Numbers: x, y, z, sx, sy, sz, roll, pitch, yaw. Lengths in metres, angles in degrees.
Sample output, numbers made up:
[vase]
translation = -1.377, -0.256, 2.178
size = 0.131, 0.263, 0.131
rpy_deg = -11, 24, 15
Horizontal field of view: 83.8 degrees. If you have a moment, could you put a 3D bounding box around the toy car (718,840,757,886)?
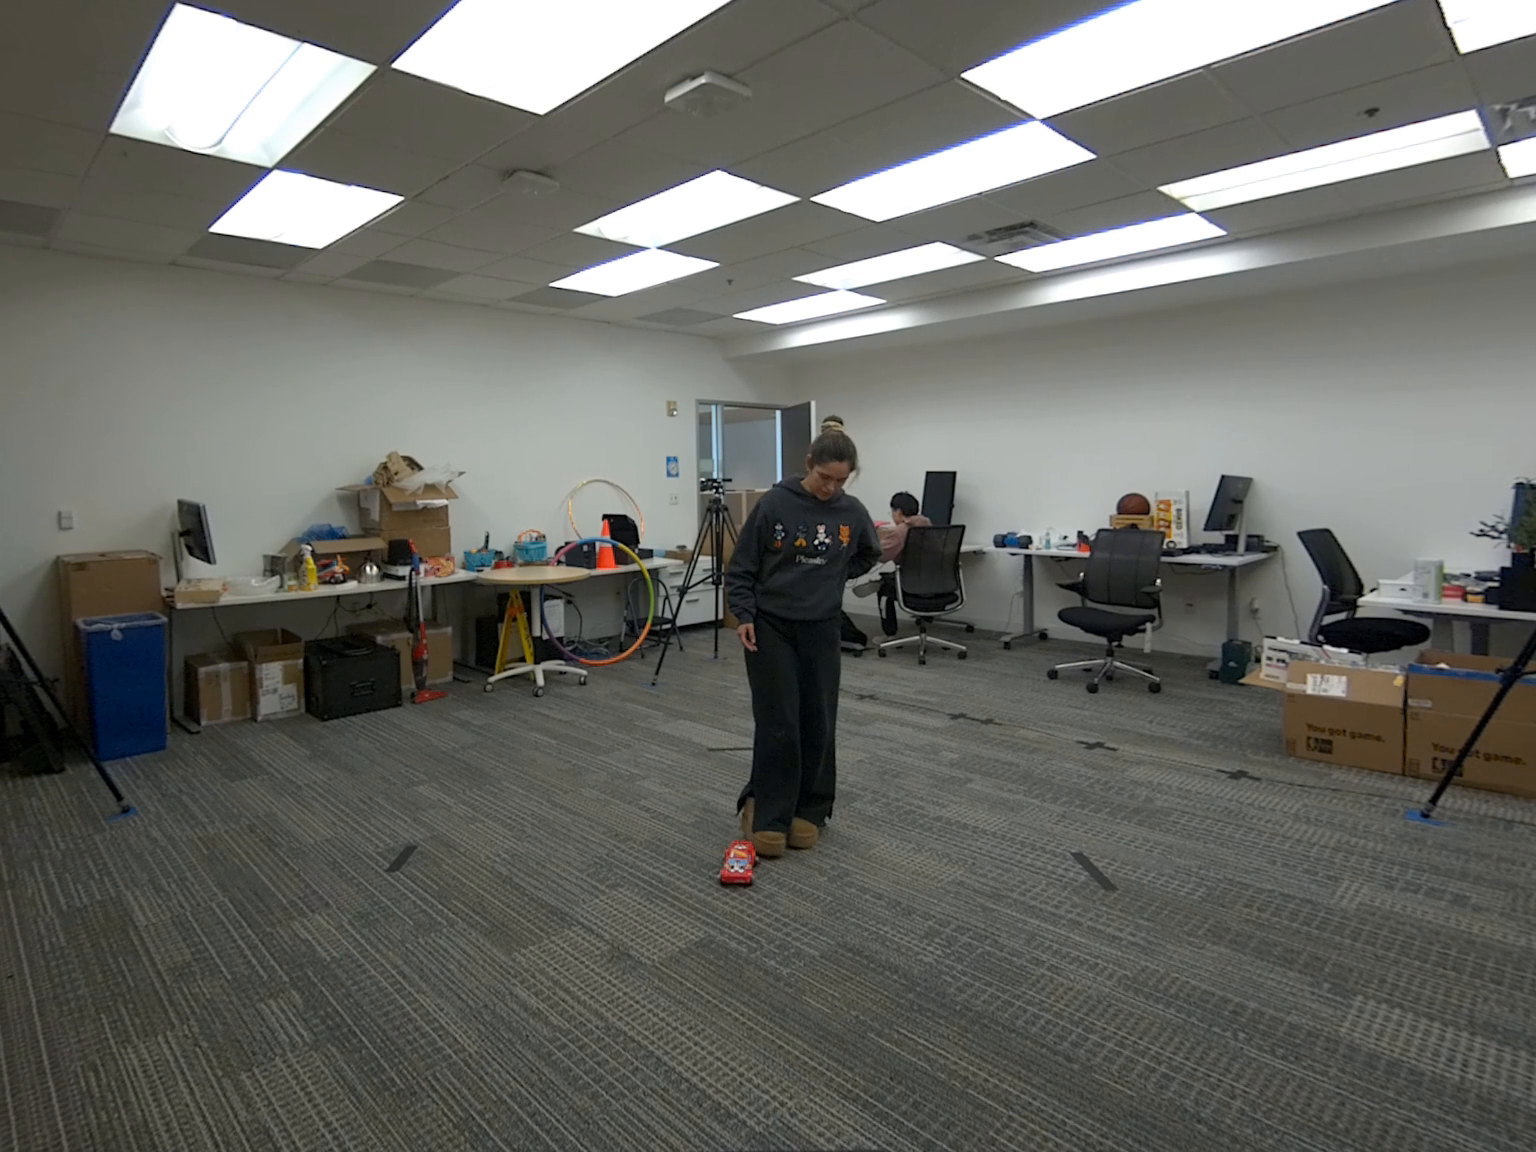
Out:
[toy car]
translation = -0.102, 1.024, 3.028
size = 0.131, 0.082, 0.257
rpy_deg = -1, 18, 3
